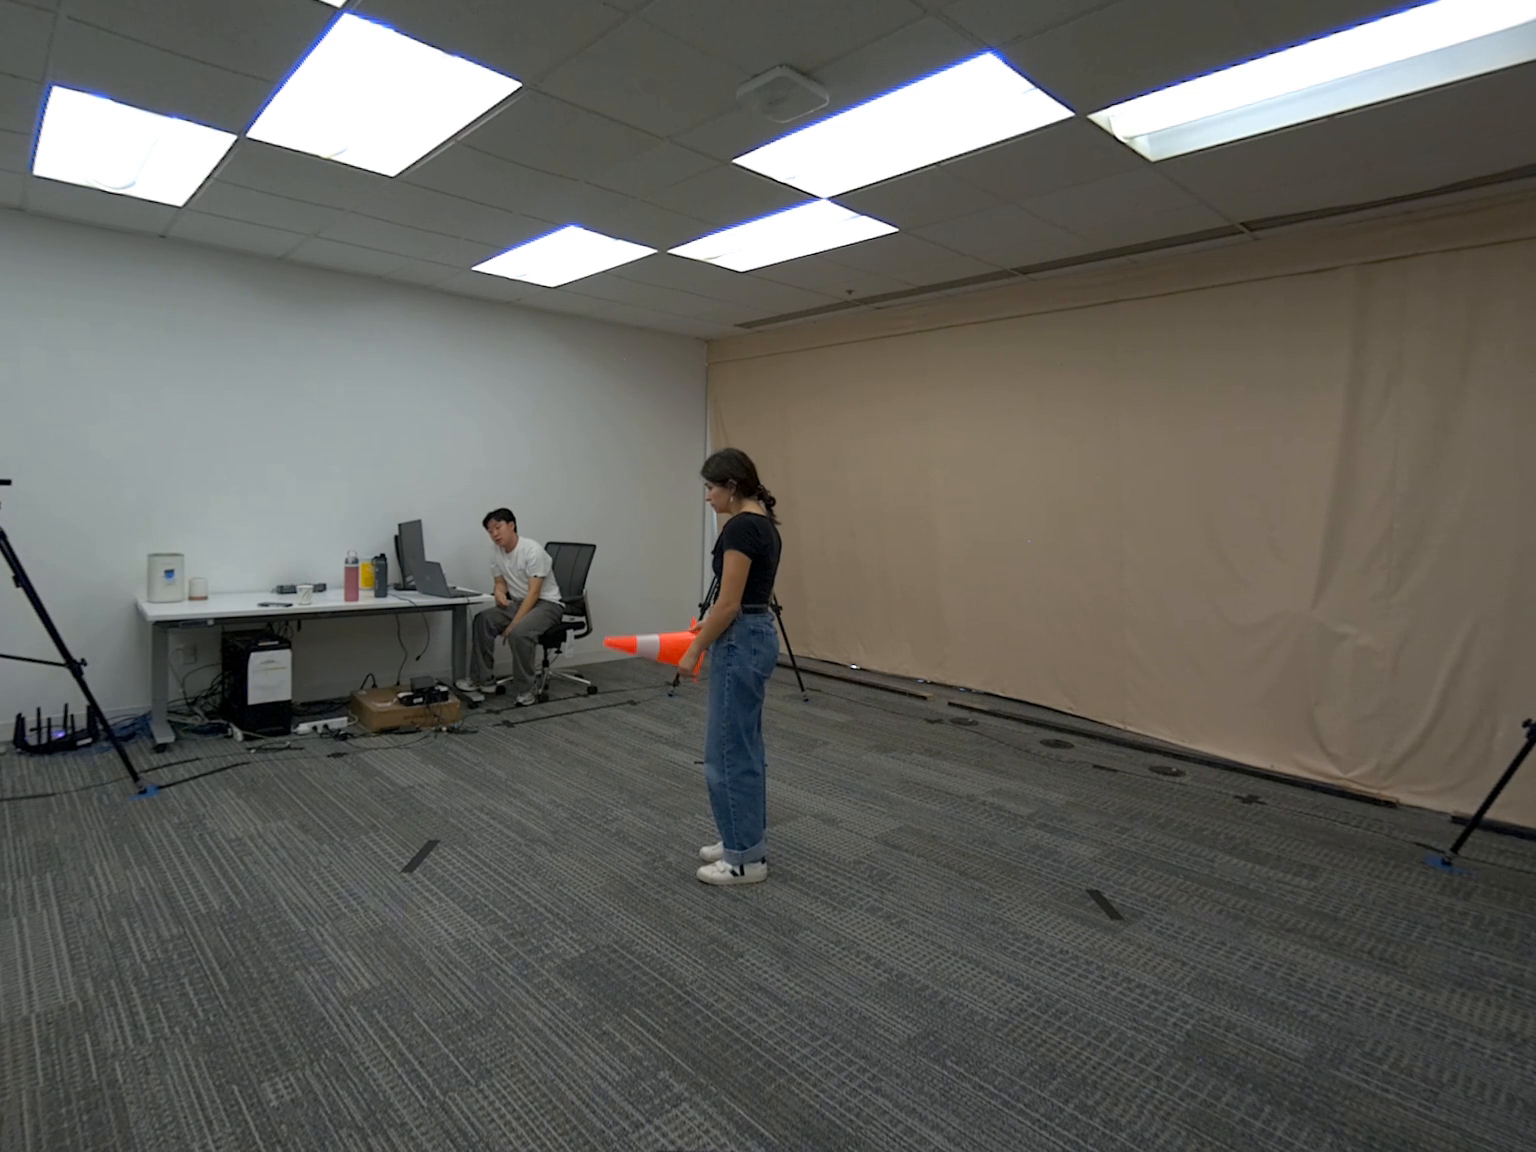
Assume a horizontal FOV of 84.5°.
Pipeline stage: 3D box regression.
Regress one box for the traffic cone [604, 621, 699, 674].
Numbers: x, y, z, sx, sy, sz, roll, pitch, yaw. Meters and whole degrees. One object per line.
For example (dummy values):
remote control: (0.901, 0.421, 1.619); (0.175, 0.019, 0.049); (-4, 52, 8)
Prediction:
traffic cone: (-0.449, 0.280, 3.368); (0.377, 0.203, 0.209); (7, 26, -20)
